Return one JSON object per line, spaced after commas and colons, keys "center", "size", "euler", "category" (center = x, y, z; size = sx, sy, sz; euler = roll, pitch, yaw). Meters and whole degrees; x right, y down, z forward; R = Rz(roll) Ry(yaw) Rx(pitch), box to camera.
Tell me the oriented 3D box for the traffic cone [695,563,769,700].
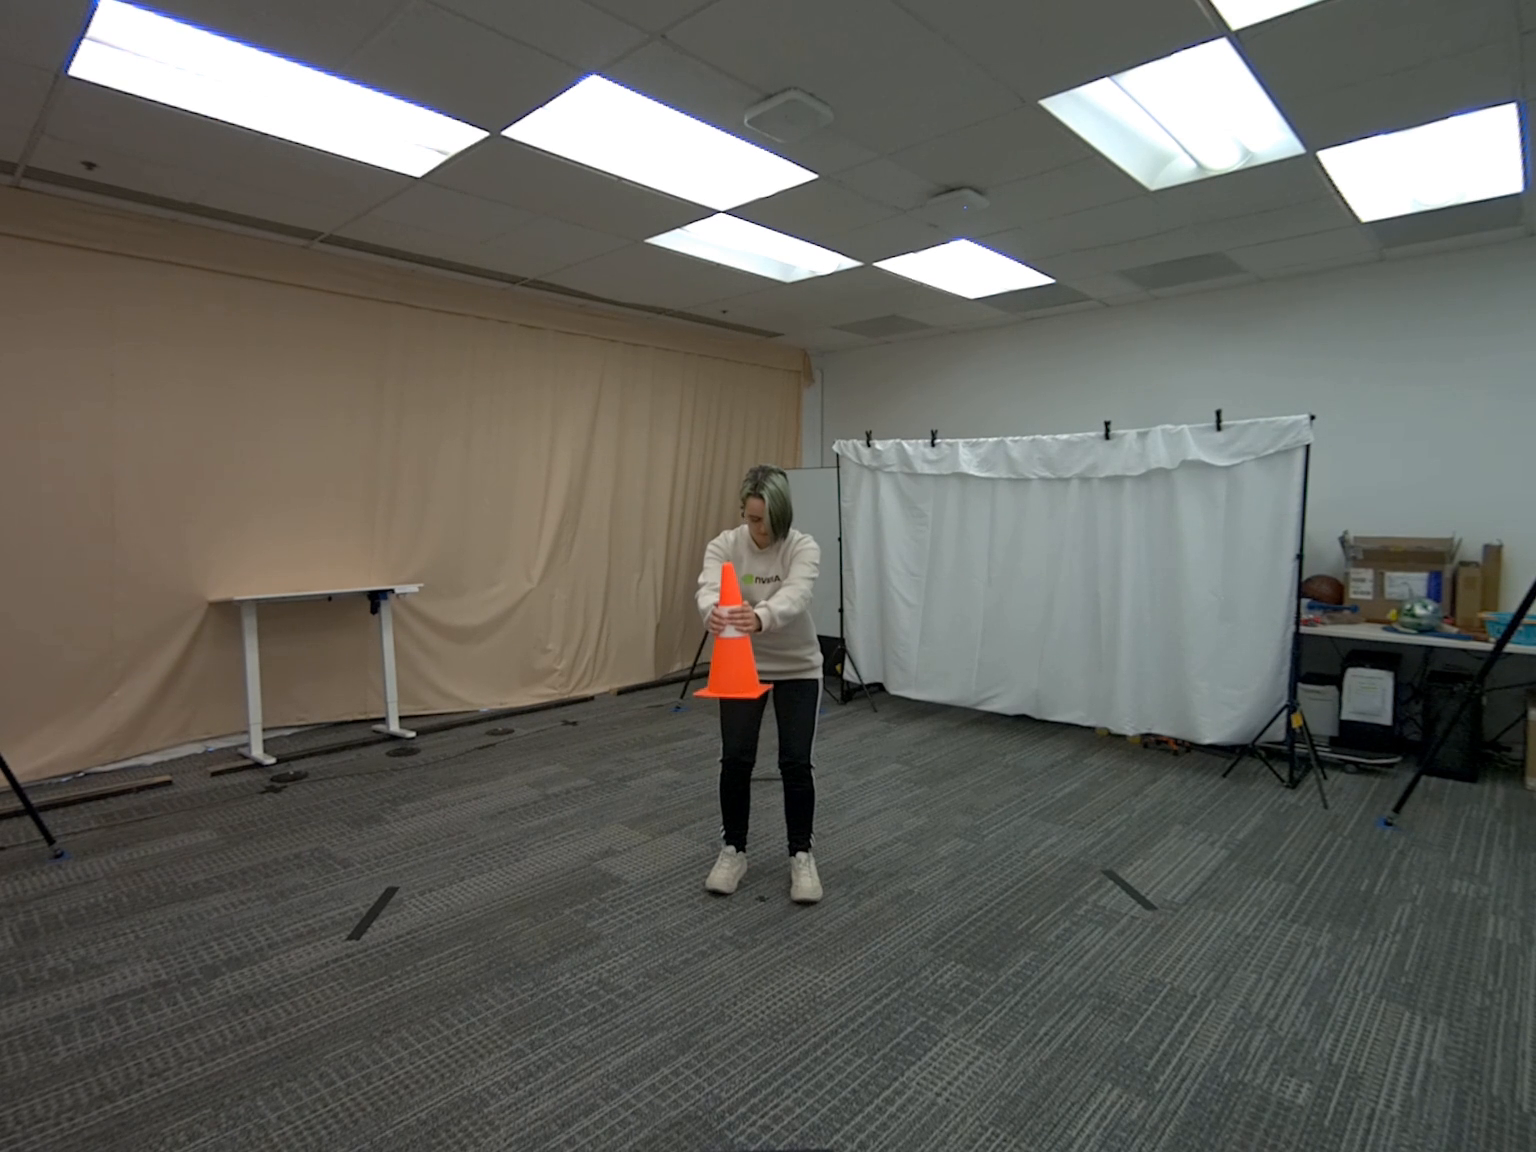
{"center": [-0.108, 0.165, 2.517], "size": [0.210, 0.383, 0.198], "euler": [-1, 3, 28], "category": "traffic cone"}
